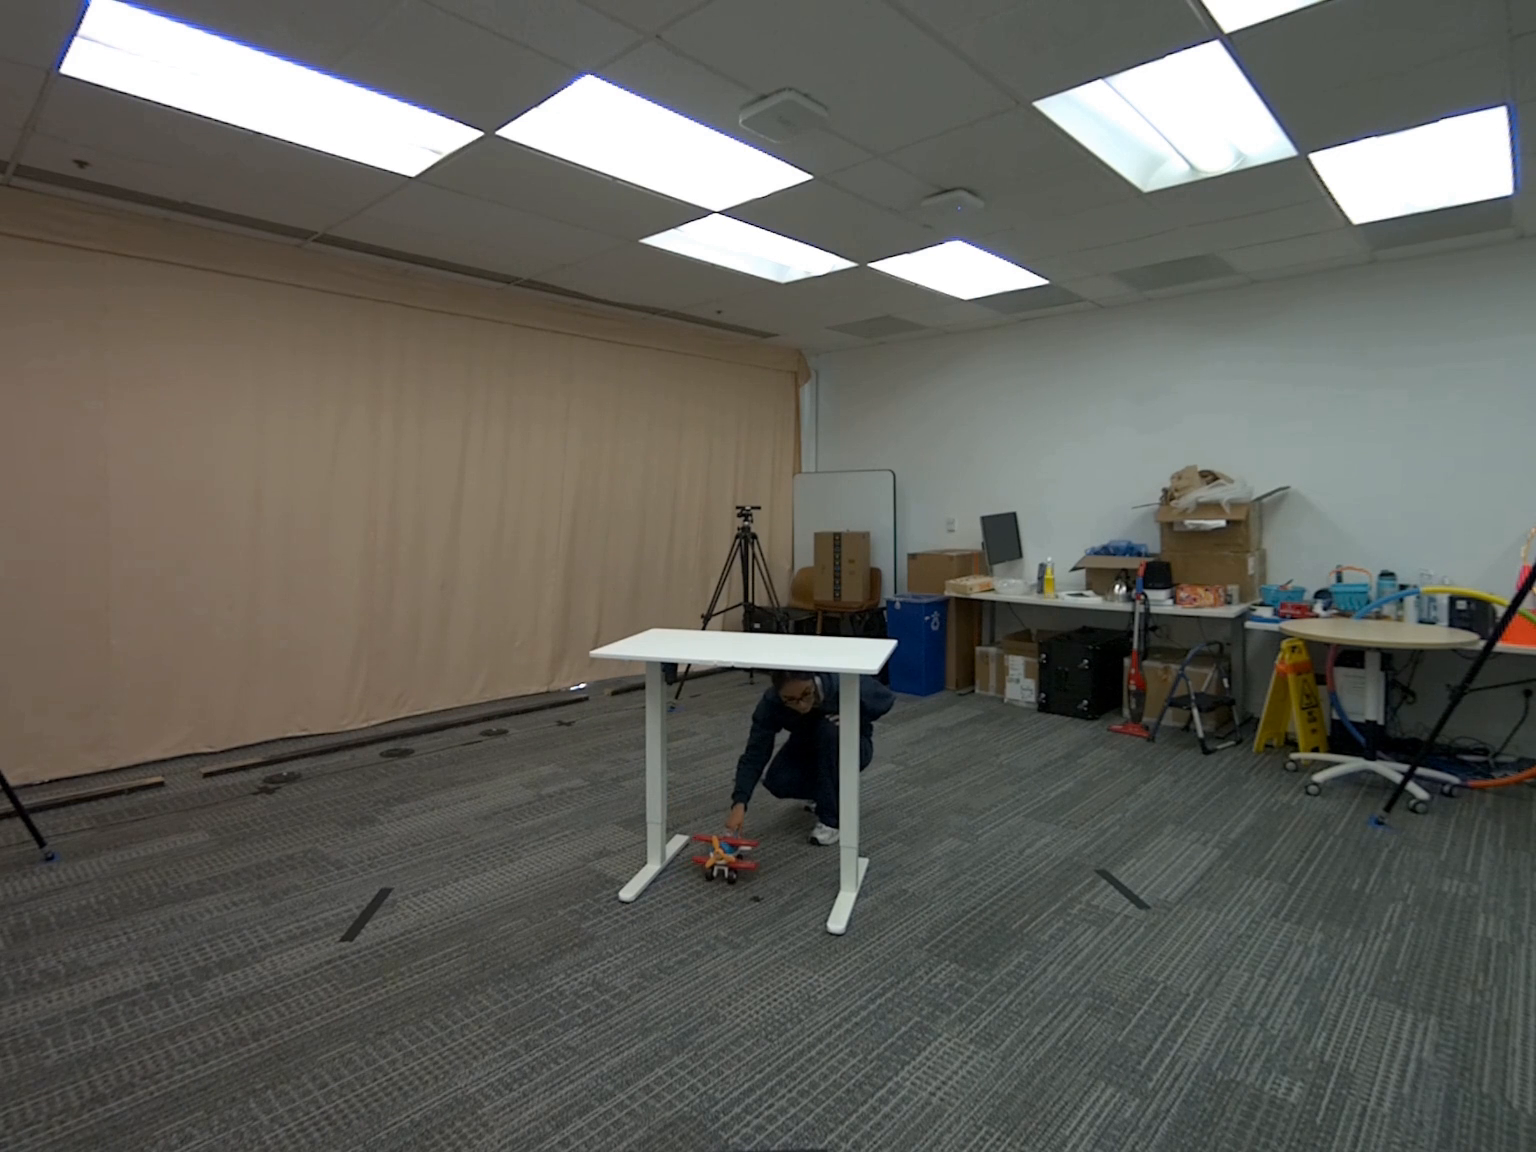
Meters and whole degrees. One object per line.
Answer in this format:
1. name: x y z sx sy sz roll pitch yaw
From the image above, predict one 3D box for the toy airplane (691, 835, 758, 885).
1. toy airplane: -0.148 1.050 3.203 0.248 0.156 0.263 -2 6 -11
